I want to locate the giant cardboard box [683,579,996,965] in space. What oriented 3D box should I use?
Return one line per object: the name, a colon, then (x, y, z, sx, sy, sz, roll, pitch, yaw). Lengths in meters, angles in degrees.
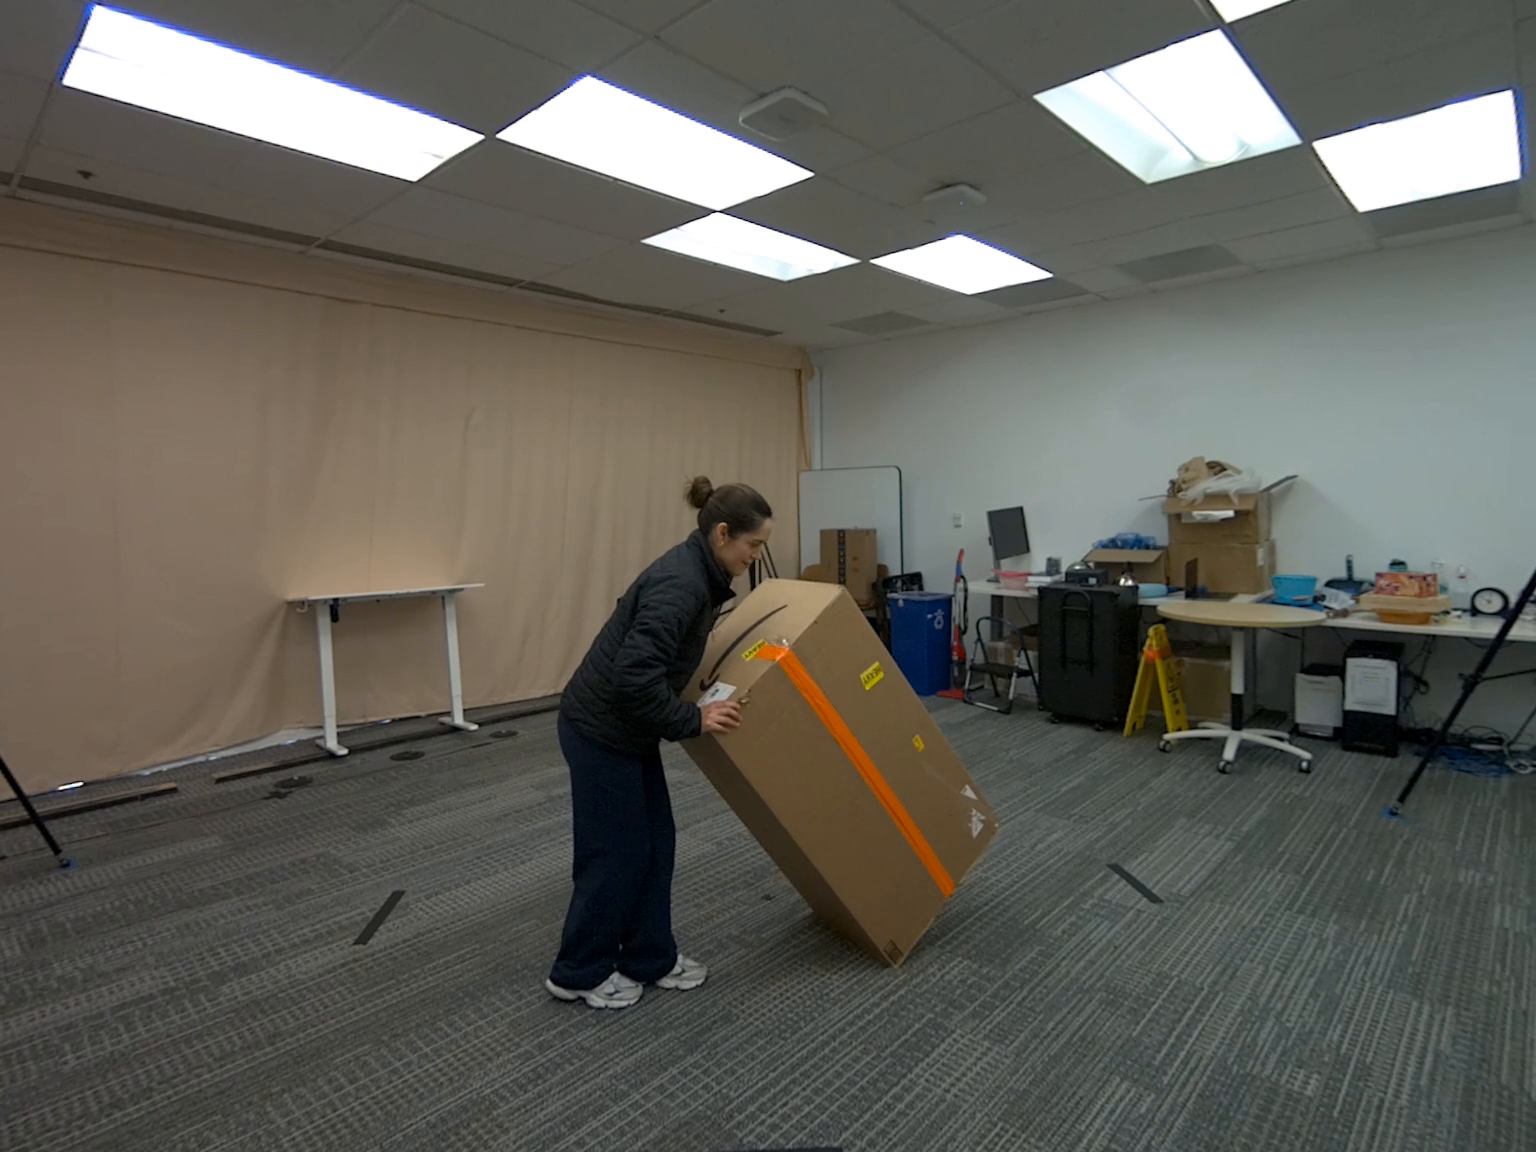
giant cardboard box: (0.206, 0.589, 2.643, 0.579, 1.005, 0.460, -43, 22, -22)
